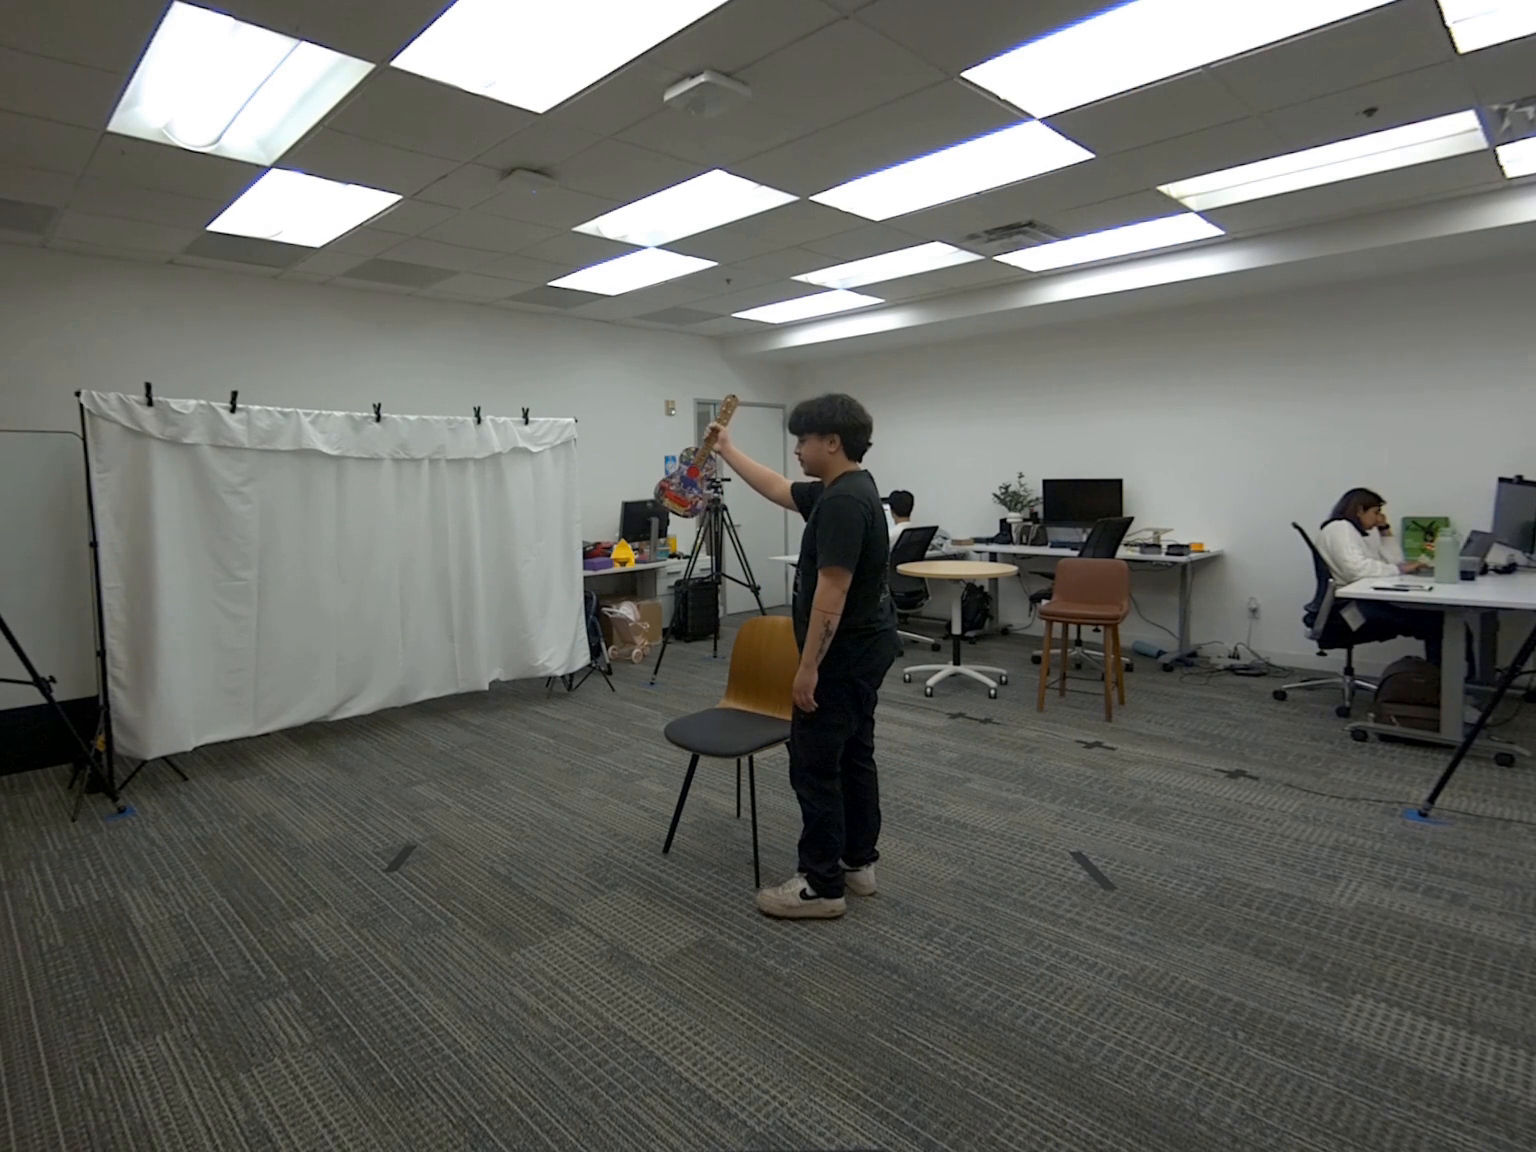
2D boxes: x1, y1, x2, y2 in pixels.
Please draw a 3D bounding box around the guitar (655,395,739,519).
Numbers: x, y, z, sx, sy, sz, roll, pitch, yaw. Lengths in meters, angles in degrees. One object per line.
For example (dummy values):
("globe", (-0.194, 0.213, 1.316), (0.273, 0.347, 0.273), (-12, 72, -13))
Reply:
("guitar", (-0.228, -0.440, 3.225), (0.192, 0.497, 0.071), (36, 3, -3))
